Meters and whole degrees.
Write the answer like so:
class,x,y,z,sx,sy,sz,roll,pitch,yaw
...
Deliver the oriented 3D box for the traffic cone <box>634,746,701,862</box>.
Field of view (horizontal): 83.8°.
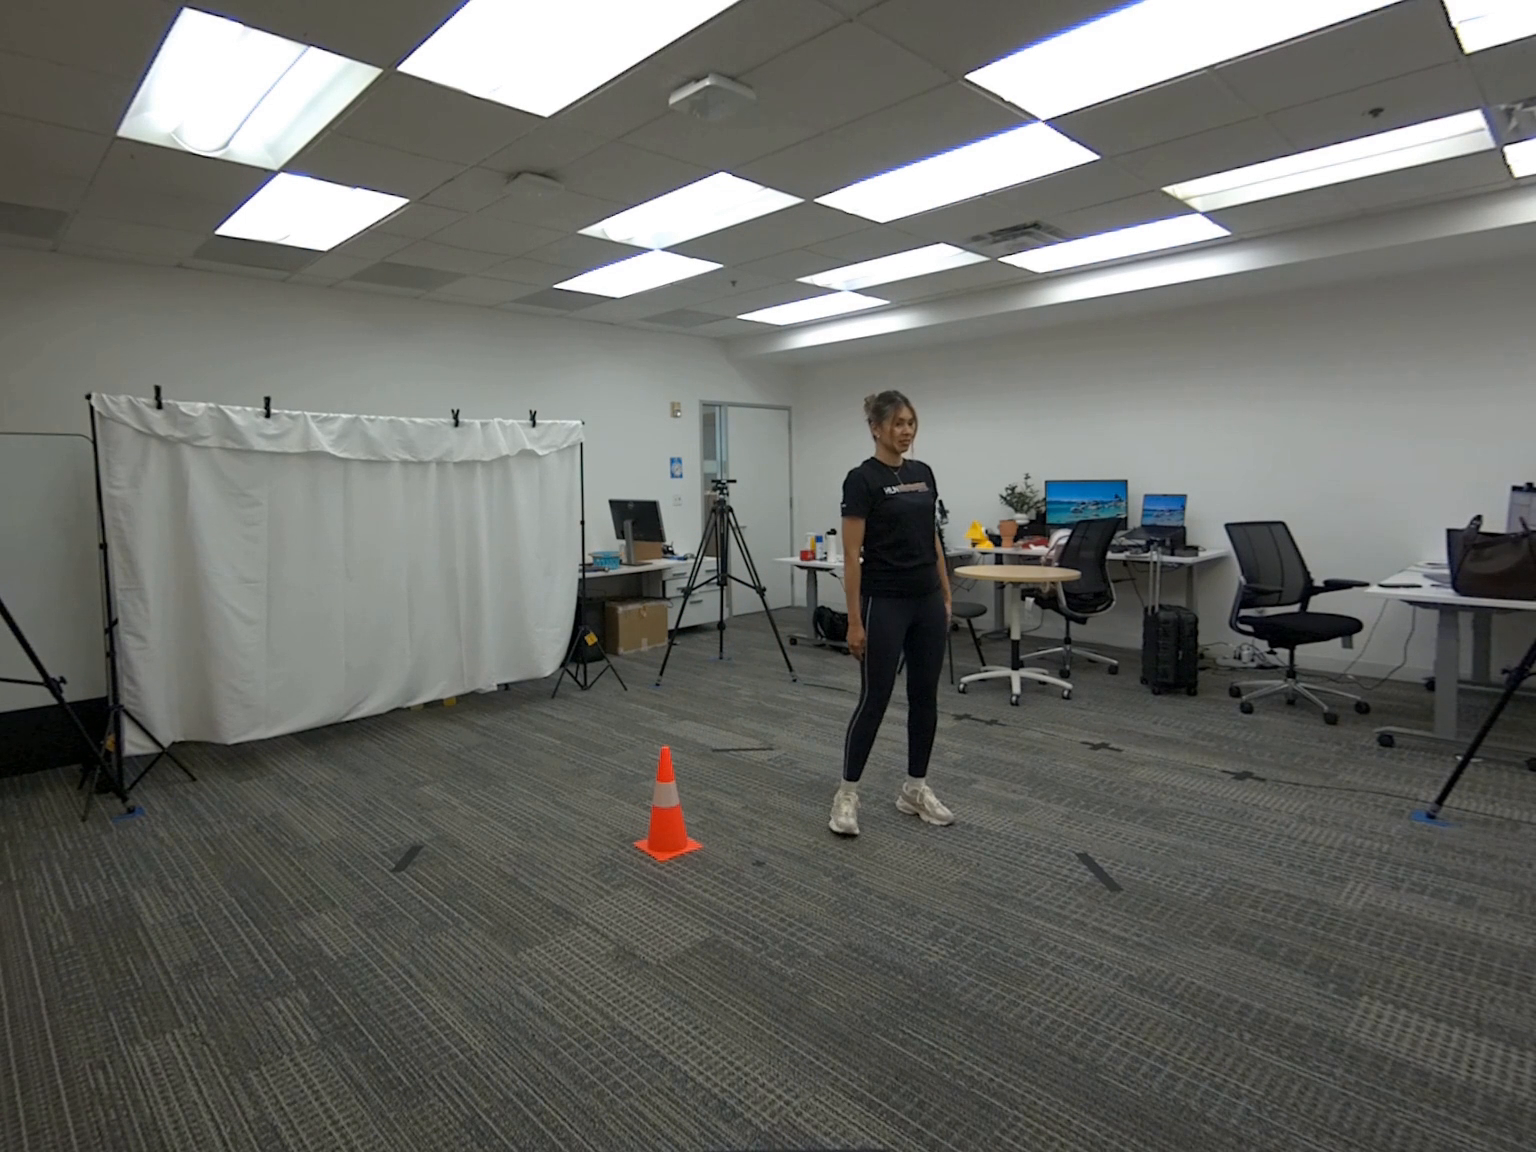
class,x,y,z,sx,sy,sz,roll,pitch,yaw
traffic cone,-0.383,0.853,3.267,0.200,0.382,0.209,-2,4,-33
